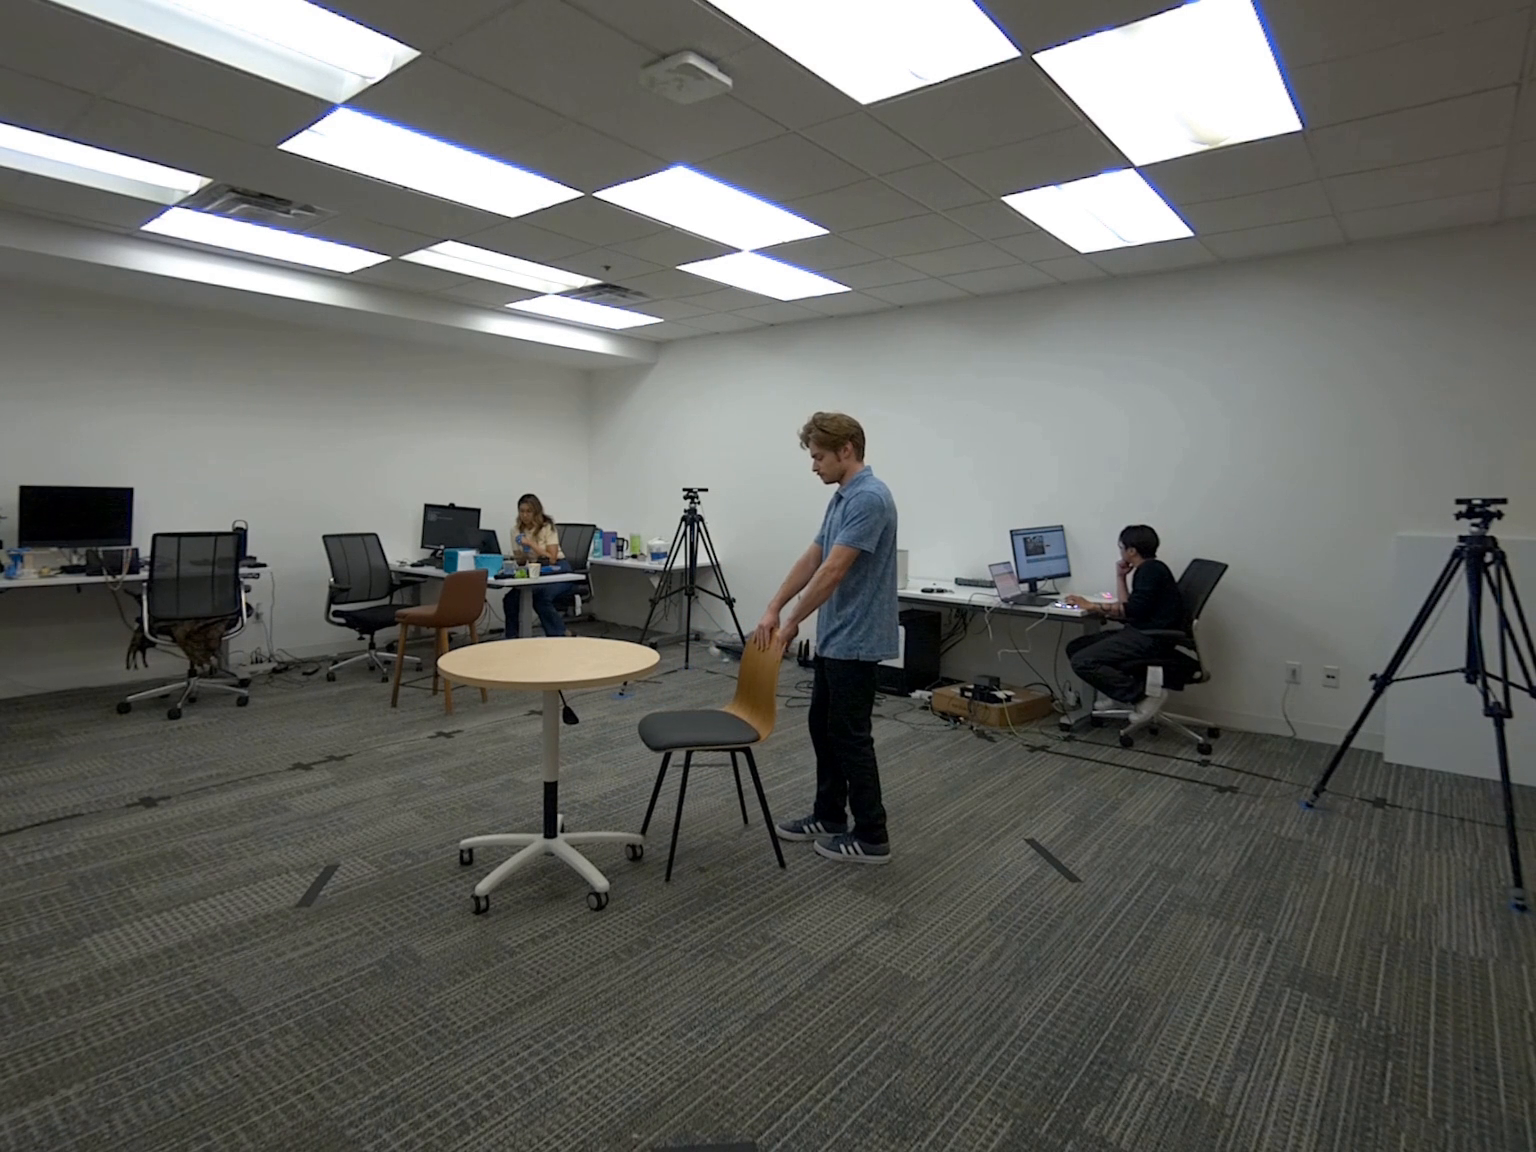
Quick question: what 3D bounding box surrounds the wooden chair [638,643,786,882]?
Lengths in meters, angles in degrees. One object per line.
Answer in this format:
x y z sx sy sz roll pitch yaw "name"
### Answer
-0.233 0.628 3.245 0.513 0.875 0.489 5 3 -19 "wooden chair"
